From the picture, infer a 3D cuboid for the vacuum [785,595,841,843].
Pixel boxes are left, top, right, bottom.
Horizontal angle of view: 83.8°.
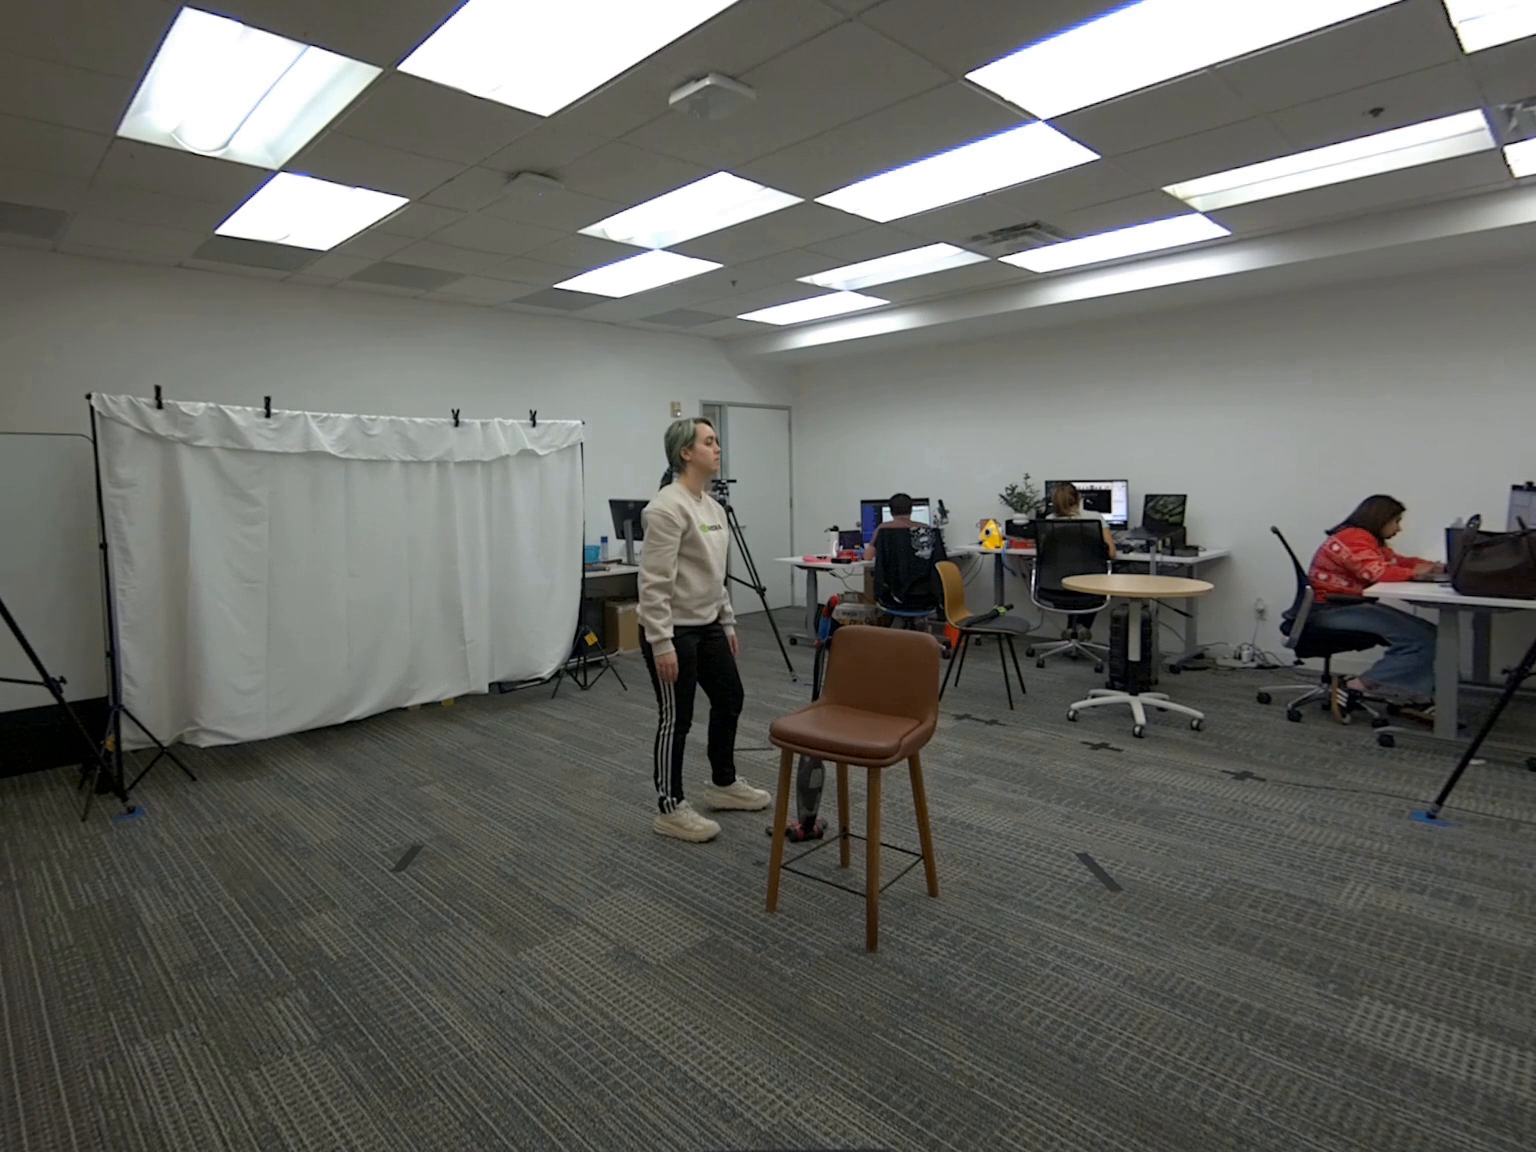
[{"bbox_3d":[0.179,0.546,3.160,0.248,1.031,0.149,-2,24,-18],"label":"vacuum"}]
